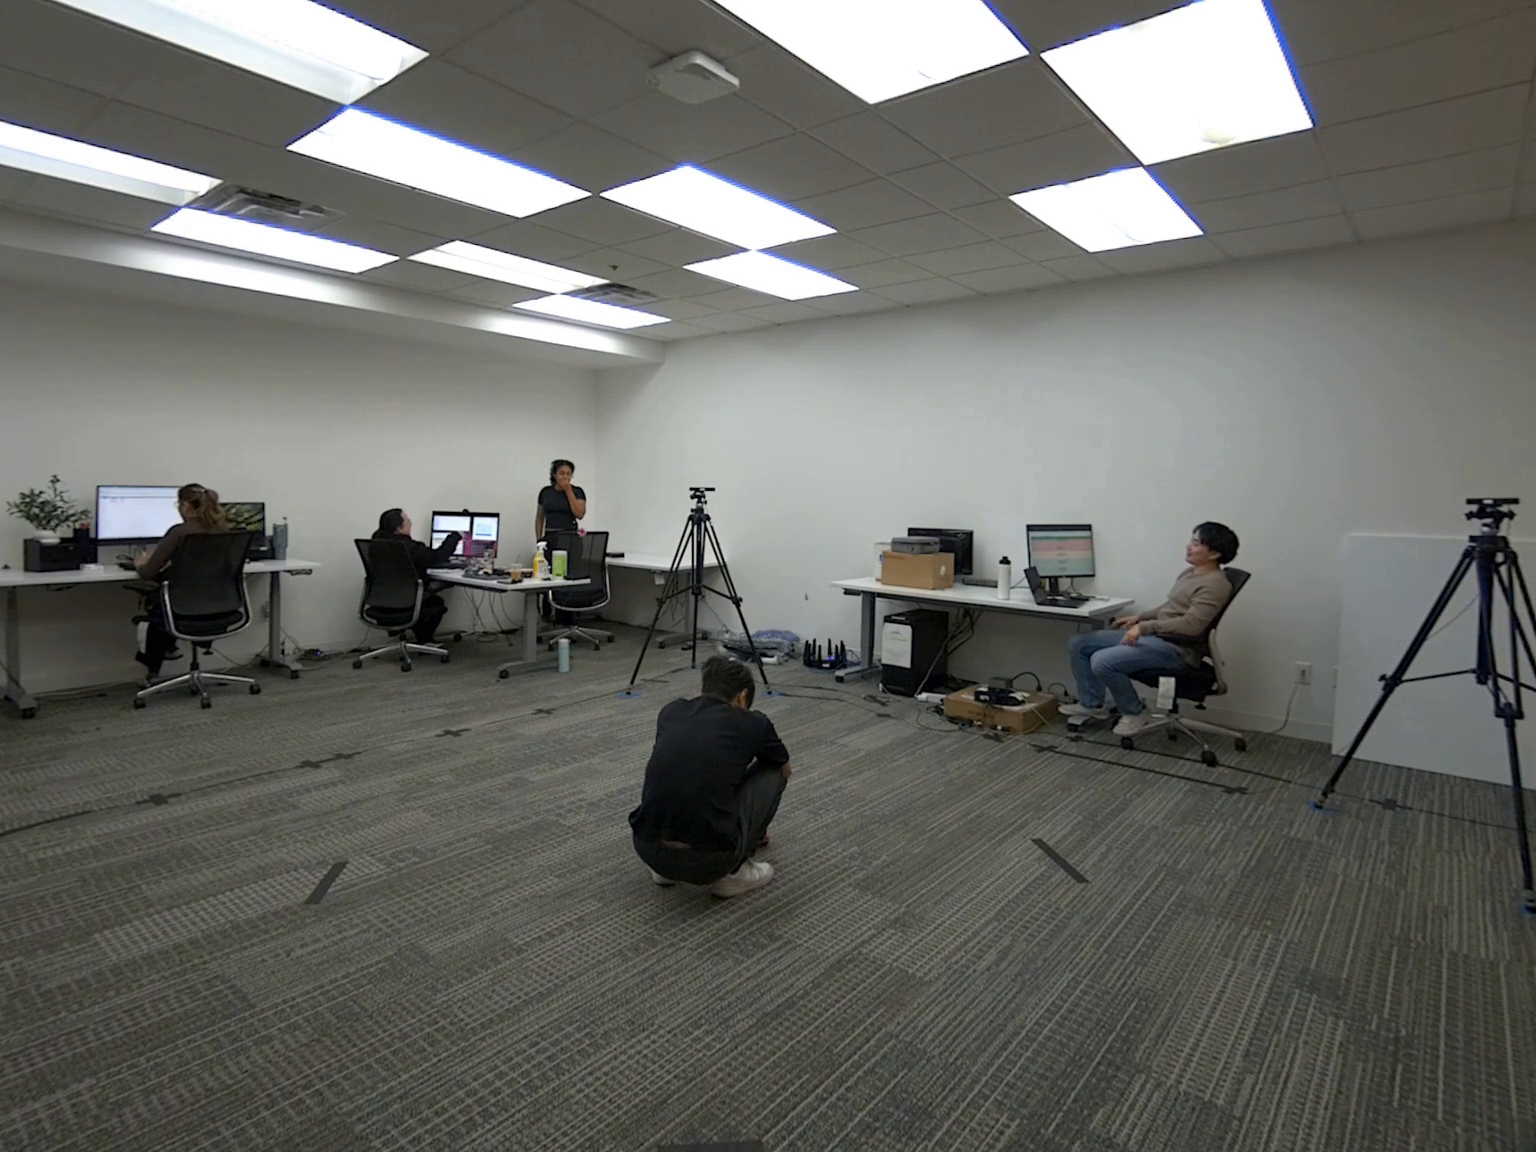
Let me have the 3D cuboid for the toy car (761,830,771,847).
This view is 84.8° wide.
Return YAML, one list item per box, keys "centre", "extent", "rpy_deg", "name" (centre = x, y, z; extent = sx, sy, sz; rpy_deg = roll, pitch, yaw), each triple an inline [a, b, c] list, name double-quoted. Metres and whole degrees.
- centre: [-0.113, 1.009, 3.389]
  extent: [0.126, 0.082, 0.264]
  rpy_deg: [0, 13, -32]
  name: "toy car"
